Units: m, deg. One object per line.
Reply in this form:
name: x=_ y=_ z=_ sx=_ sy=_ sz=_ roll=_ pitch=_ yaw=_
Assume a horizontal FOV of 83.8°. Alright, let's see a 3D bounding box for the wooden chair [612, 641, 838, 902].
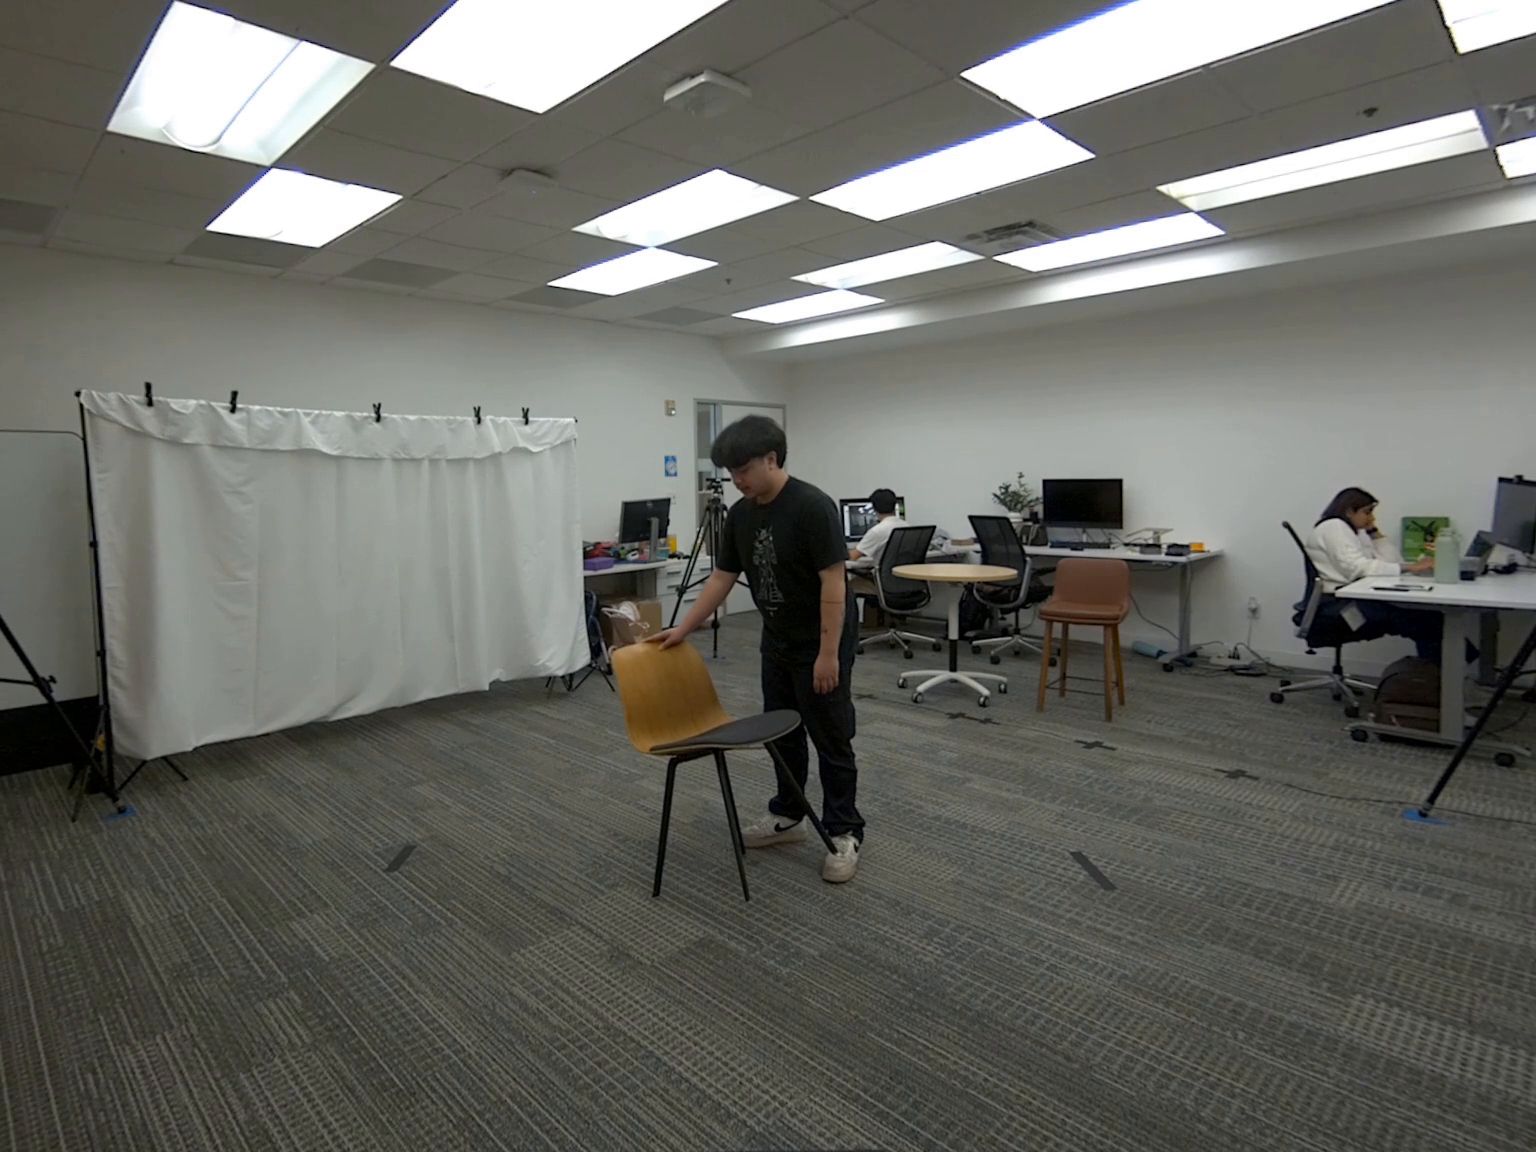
wooden chair: x=-0.174 y=0.589 z=2.916 sx=0.465 sy=0.890 sz=0.530 roll=-5 pitch=-17 yaw=-47
